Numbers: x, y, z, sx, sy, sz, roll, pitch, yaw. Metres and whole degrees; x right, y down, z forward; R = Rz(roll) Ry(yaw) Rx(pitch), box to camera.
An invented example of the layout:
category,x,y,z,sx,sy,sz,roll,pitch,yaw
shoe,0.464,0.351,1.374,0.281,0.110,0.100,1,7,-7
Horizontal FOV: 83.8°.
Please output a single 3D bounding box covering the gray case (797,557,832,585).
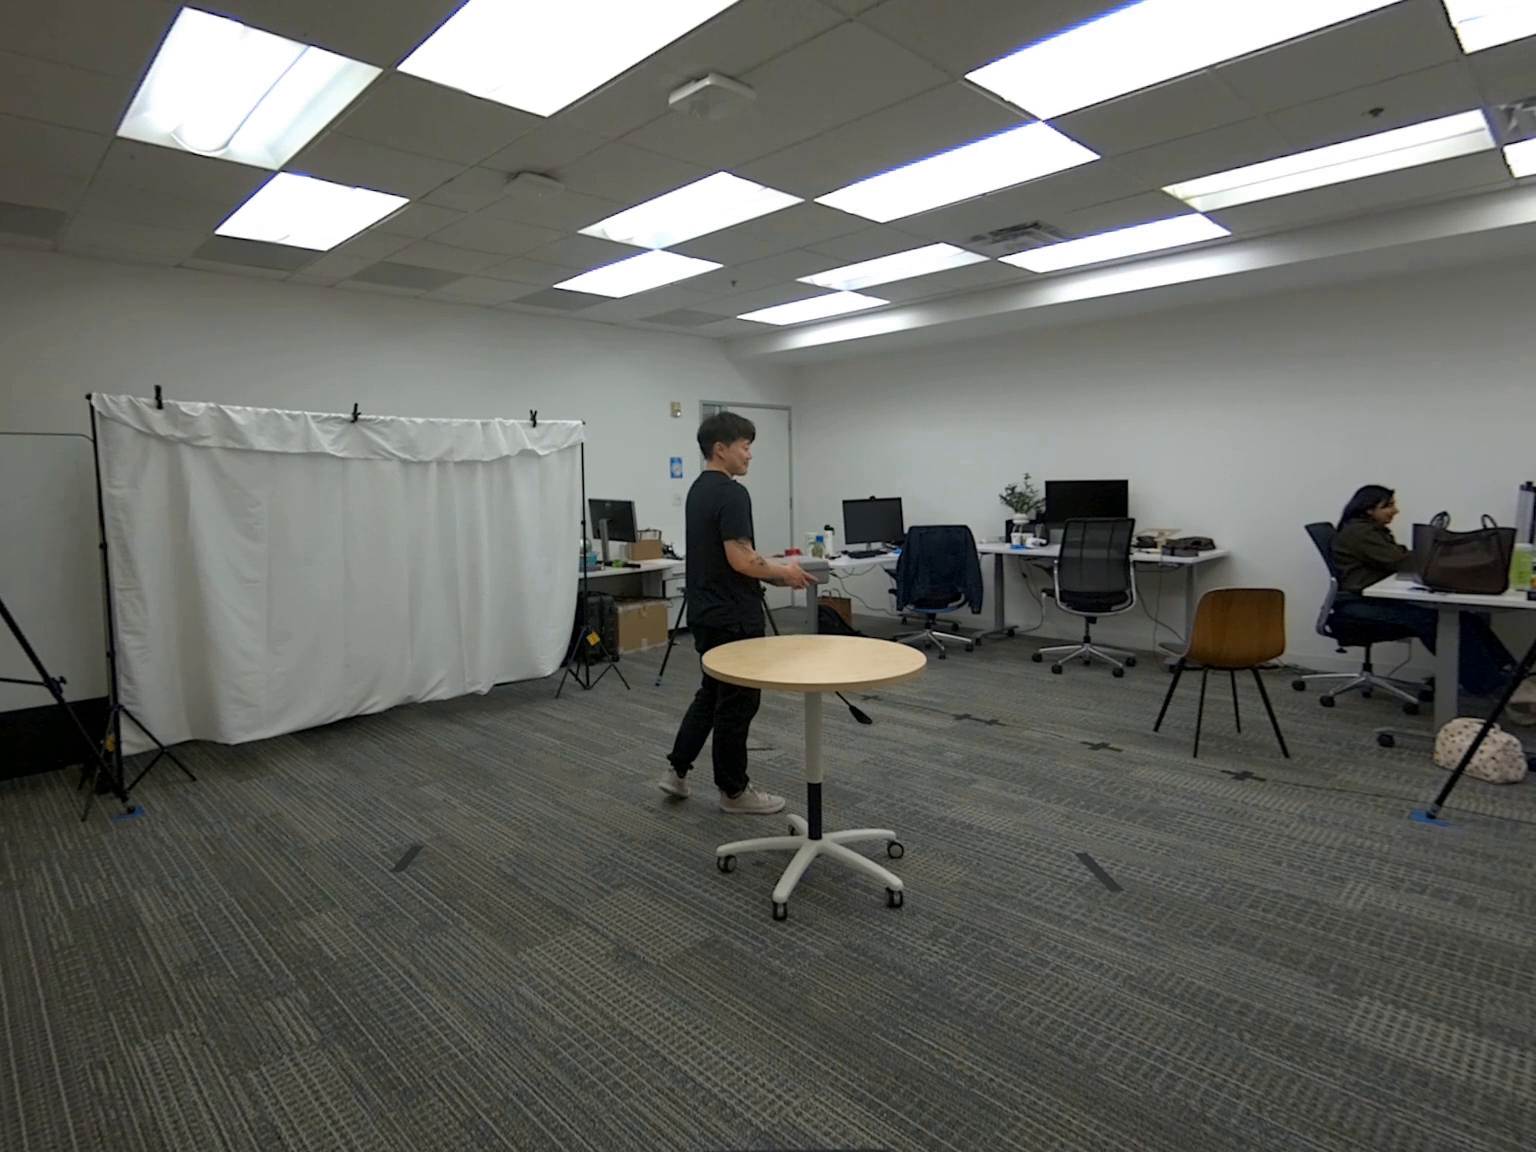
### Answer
category,x,y,z,sx,sy,sz,roll,pitch,yaw
gray case,0.090,-0.013,3.658,0.259,0.104,0.260,-2,7,-7
